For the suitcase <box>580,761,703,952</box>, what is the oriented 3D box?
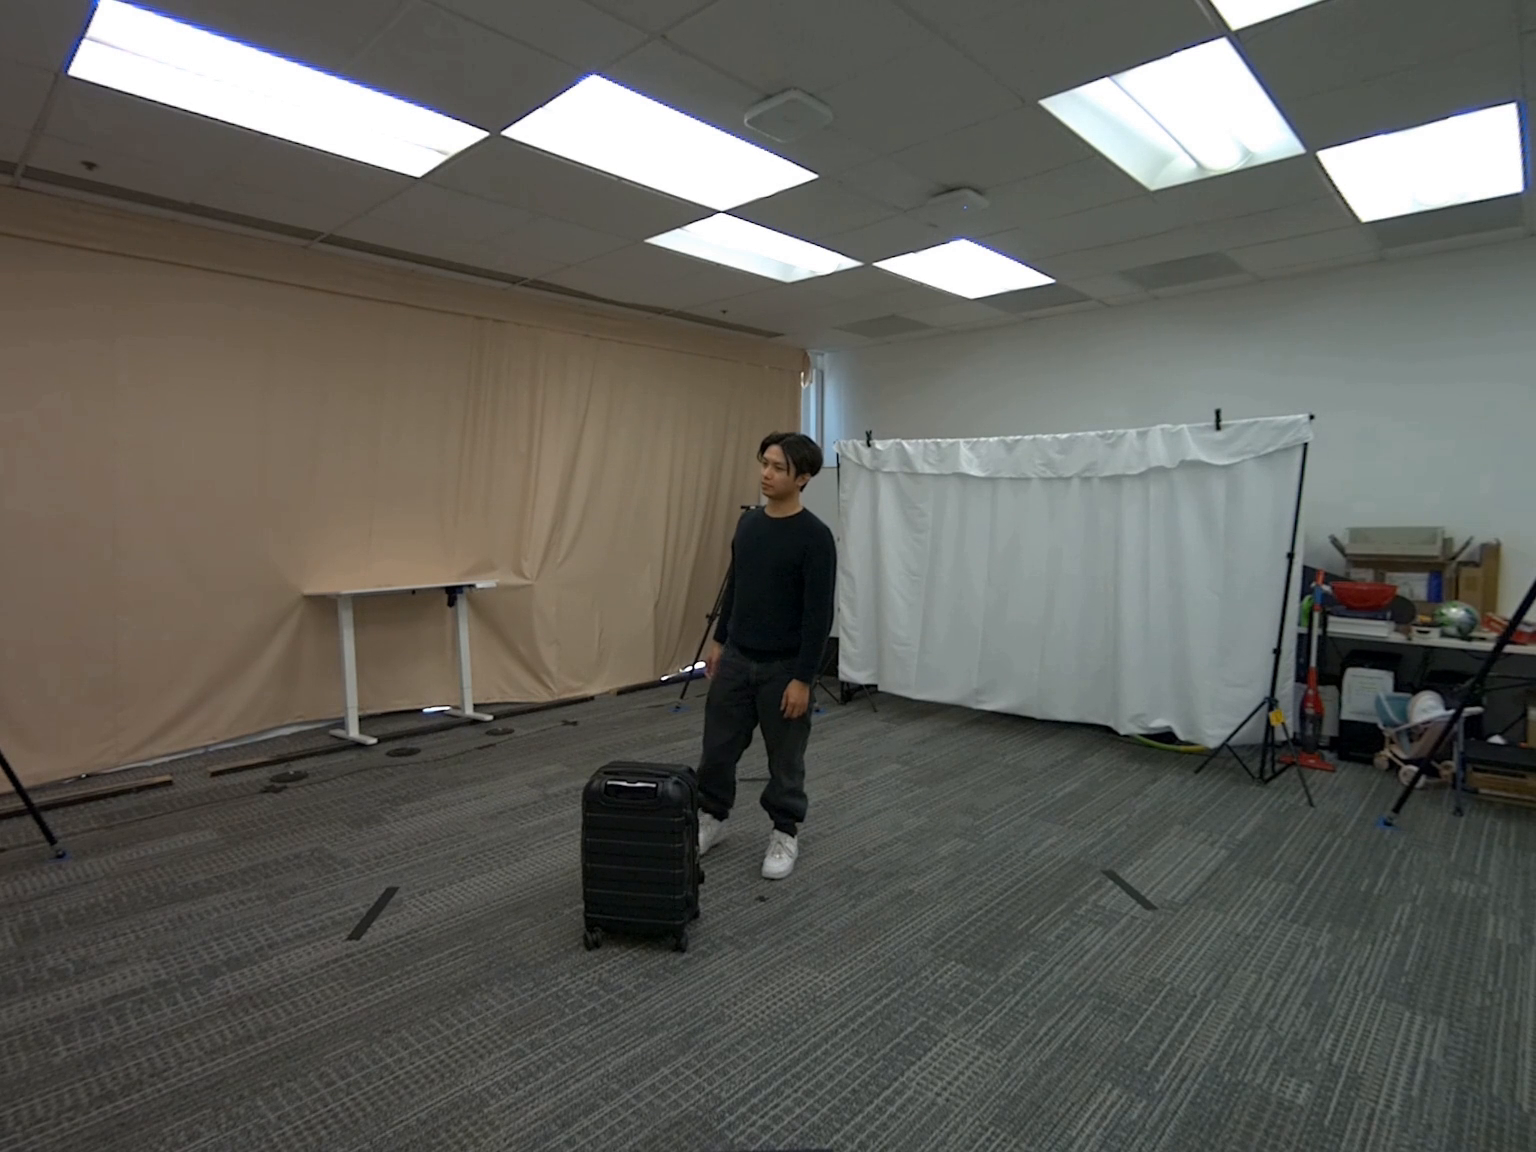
[{"bbox_3d":[-0.413,0.887,2.742,0.380,0.549,0.245,-1,1,11],"label":"suitcase"}]
